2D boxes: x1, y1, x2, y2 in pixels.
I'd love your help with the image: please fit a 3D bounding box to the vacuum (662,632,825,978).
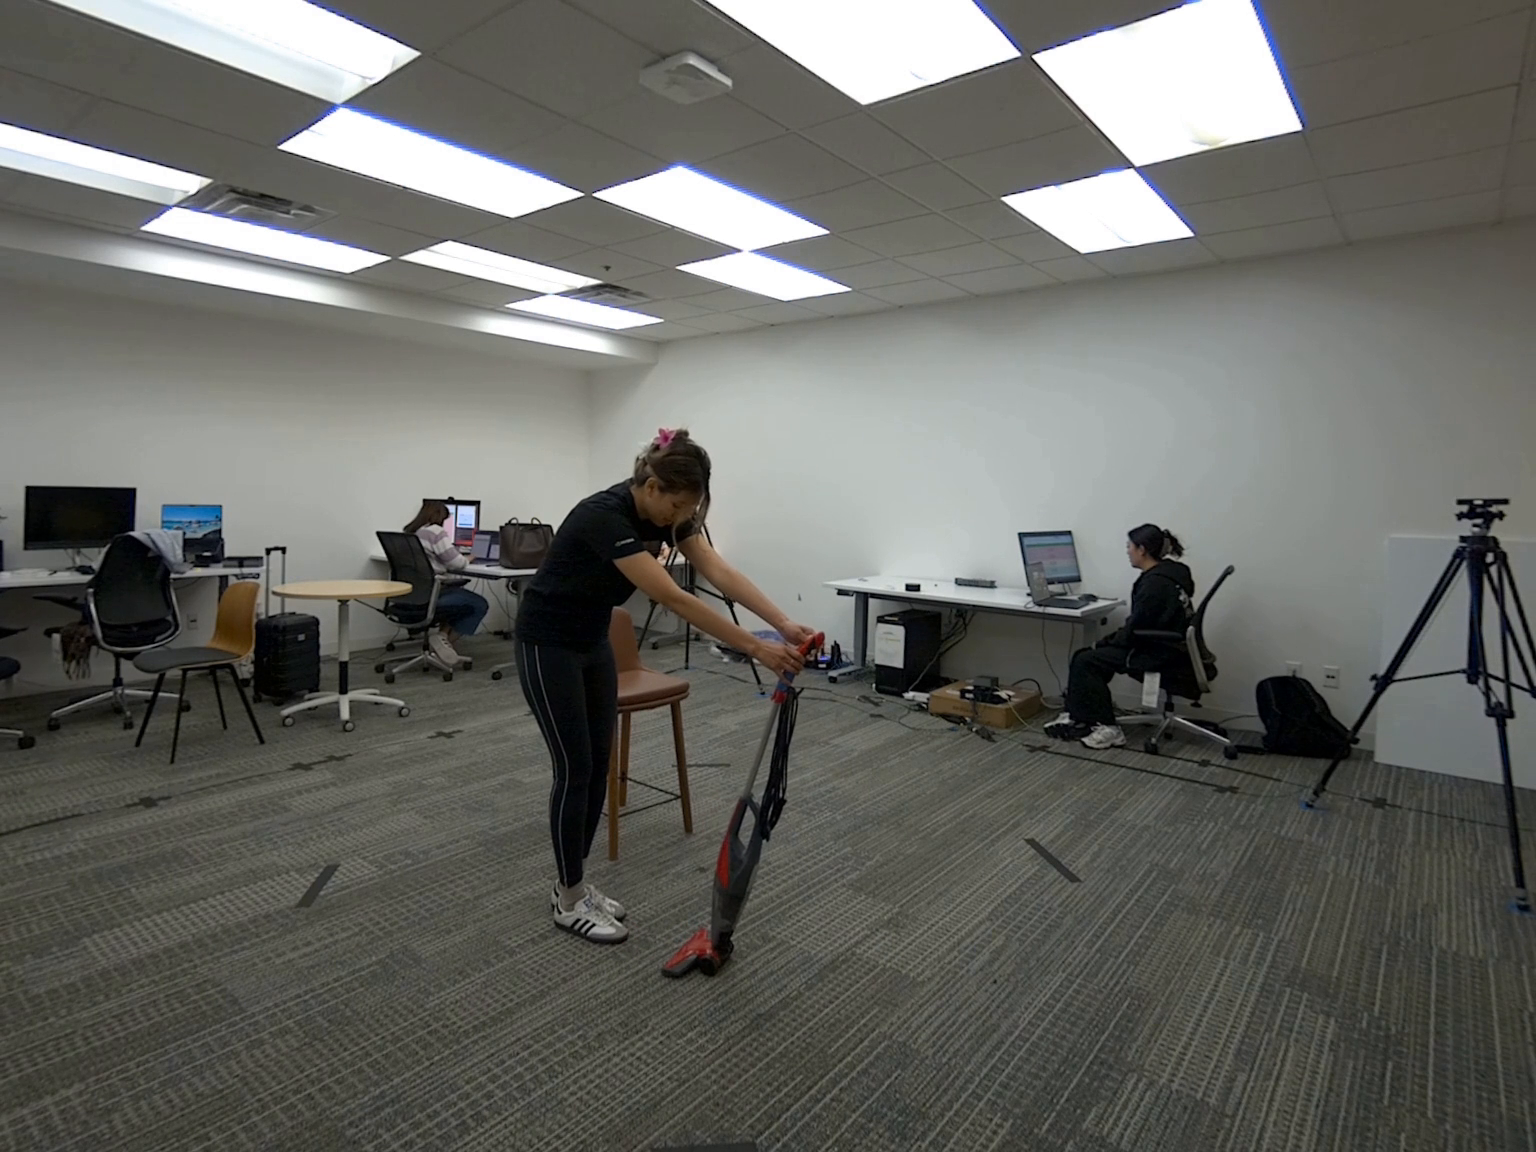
[{"bbox_3d":[-0.035,0.649,2.406,0.149,1.042,0.246,25,13,24],"label":"vacuum"}]
